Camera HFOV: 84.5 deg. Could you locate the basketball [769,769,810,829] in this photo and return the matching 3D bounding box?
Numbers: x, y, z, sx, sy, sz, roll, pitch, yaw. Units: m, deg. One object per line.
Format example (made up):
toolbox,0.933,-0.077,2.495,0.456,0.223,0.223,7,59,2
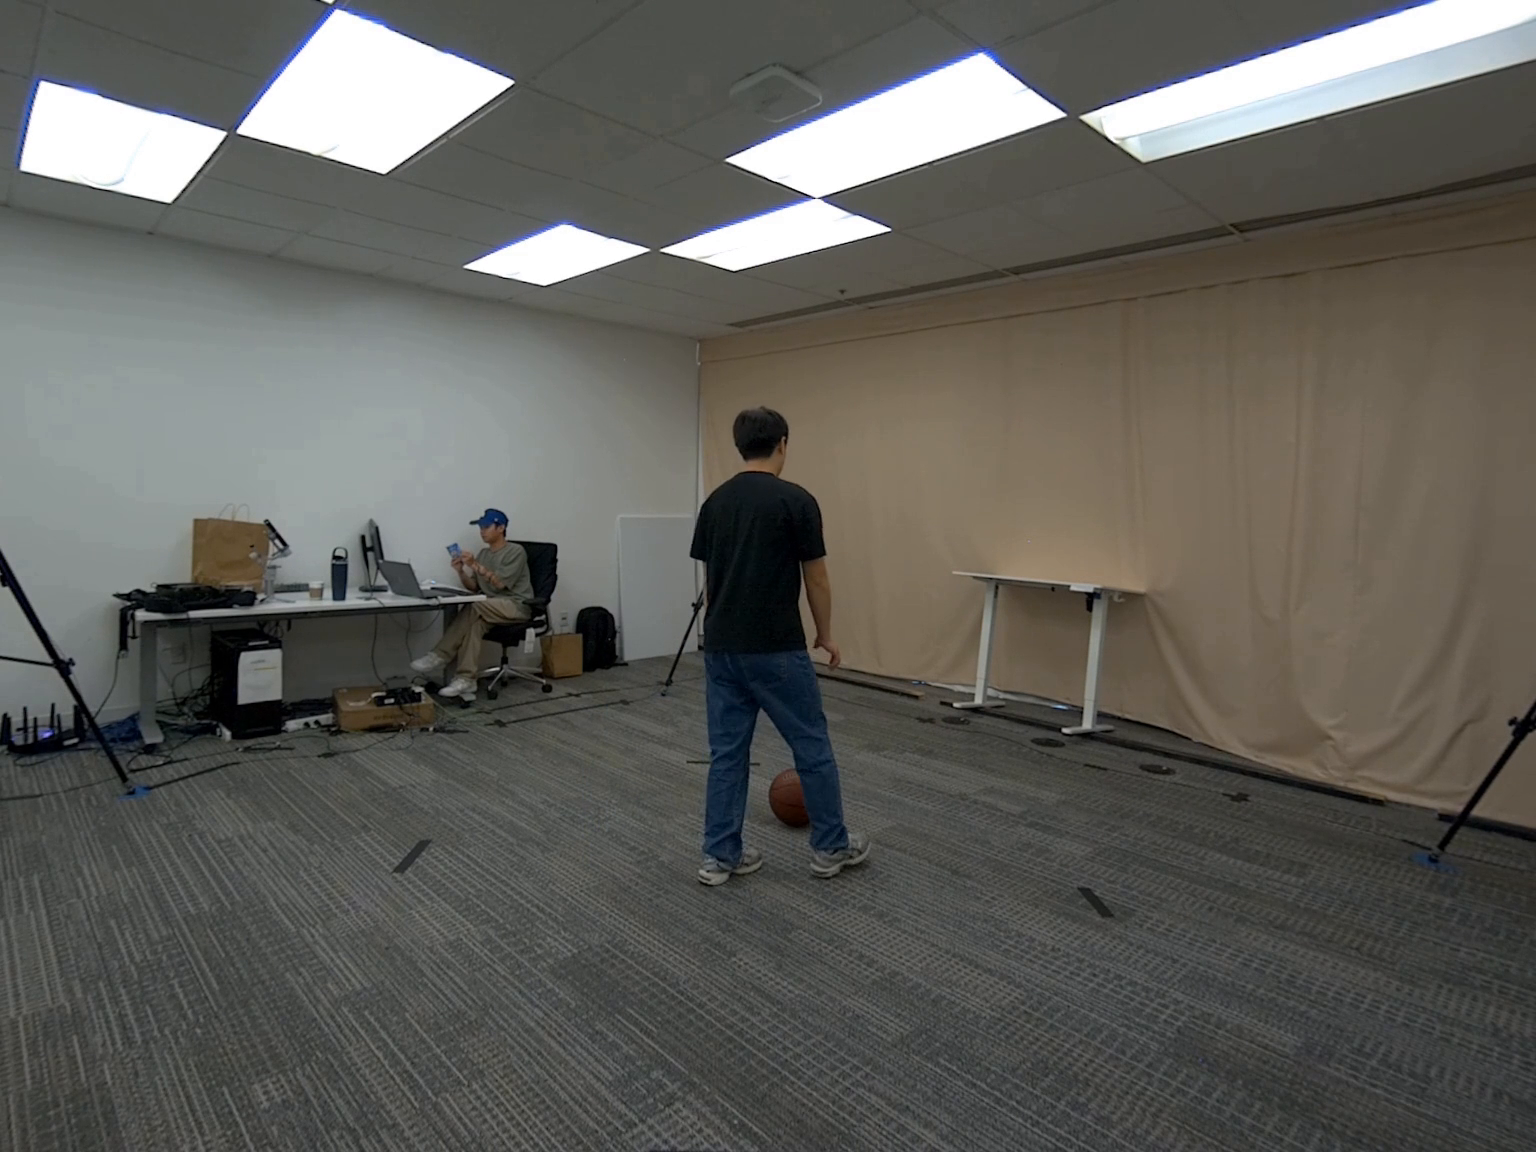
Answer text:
basketball,0.120,0.945,3.618,0.236,0.235,0.237,1,4,-1
